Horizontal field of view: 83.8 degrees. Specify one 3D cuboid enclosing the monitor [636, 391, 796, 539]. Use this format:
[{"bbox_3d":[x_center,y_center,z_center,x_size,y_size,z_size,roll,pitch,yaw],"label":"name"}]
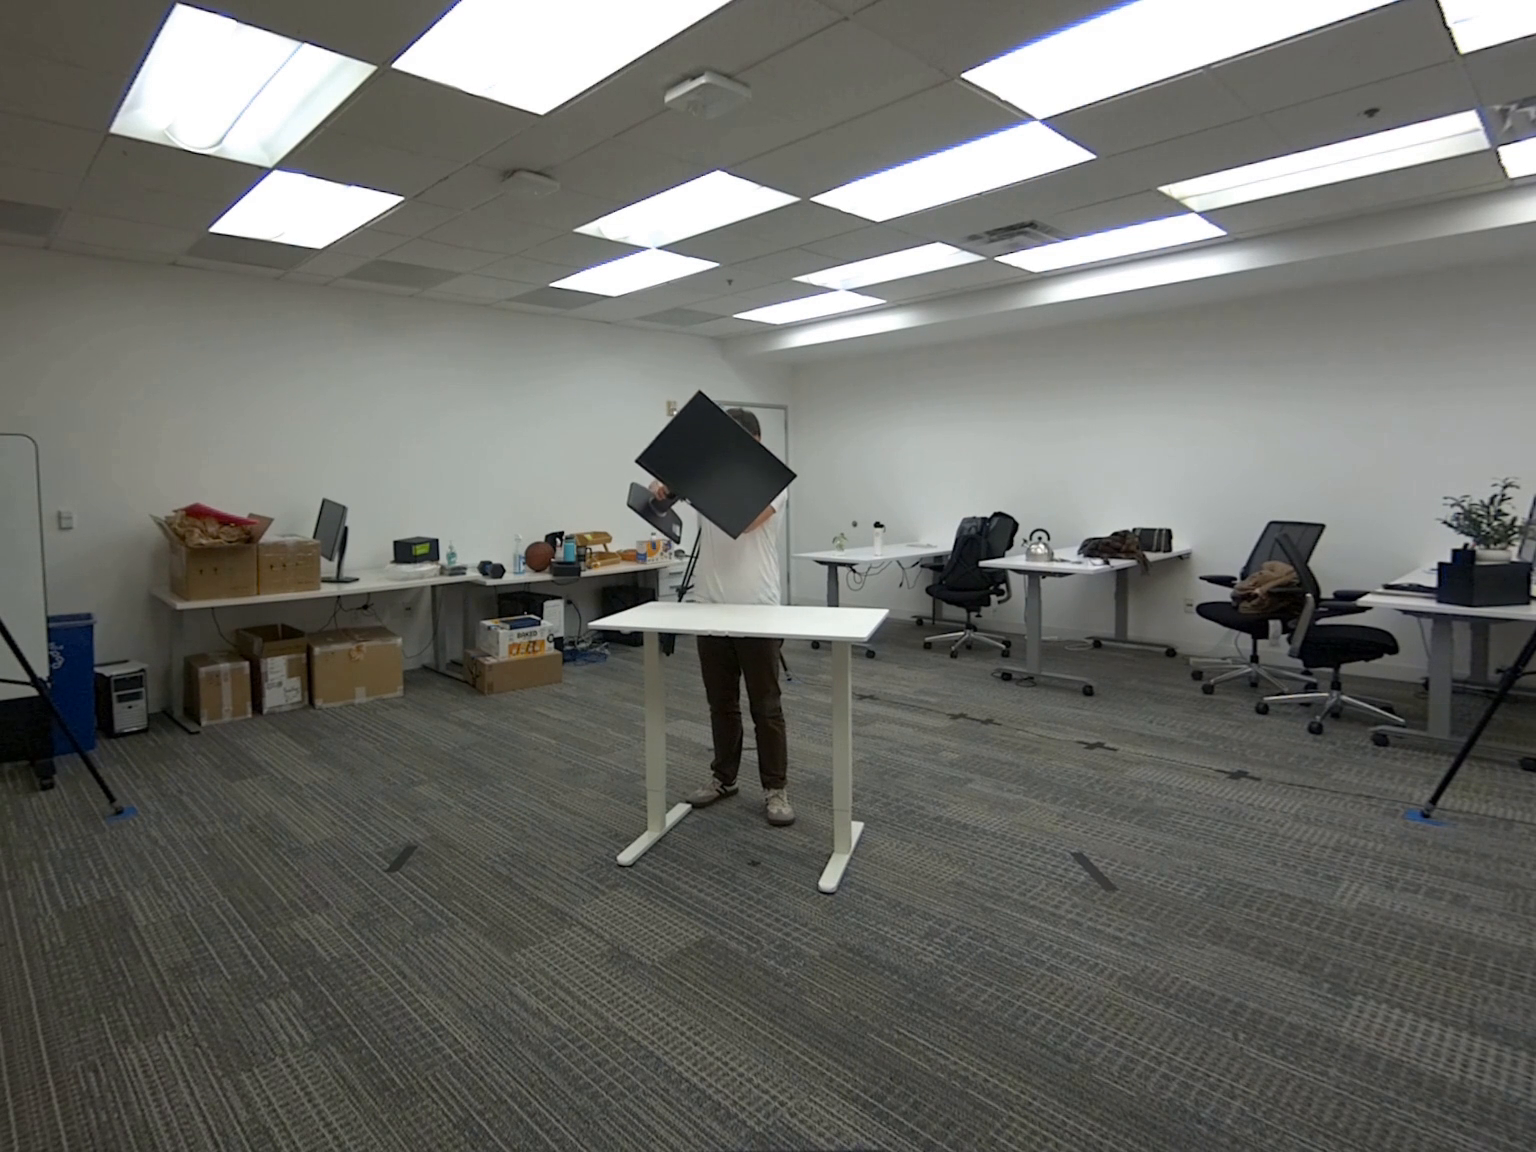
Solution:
[{"bbox_3d":[-0.260,-0.368,3.247,0.525,0.193,0.520,-37,-54,23],"label":"monitor"}]
